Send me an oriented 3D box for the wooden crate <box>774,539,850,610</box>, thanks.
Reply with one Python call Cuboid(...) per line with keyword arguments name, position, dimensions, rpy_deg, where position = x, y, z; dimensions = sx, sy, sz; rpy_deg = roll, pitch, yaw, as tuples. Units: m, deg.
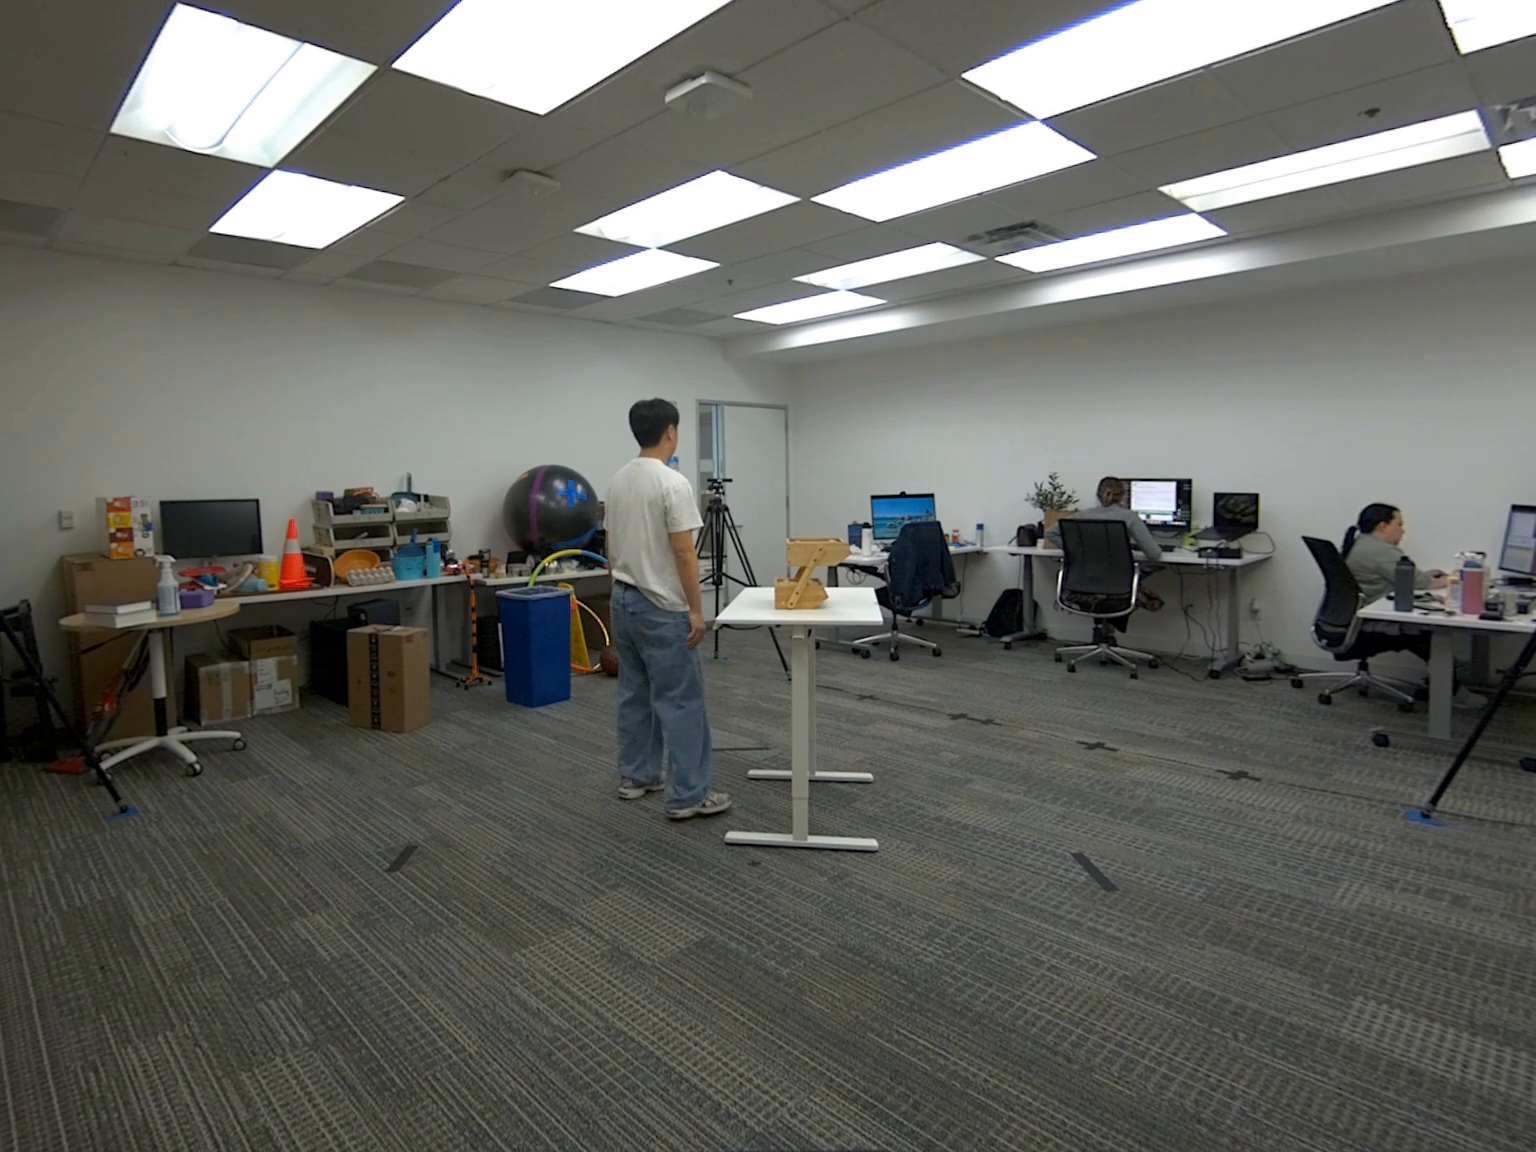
Cuboid(name="wooden crate", position=(0.178, -0.006, 3.475), dimensions=(0.303, 0.273, 0.324), rpy_deg=(-1, 3, 3))
